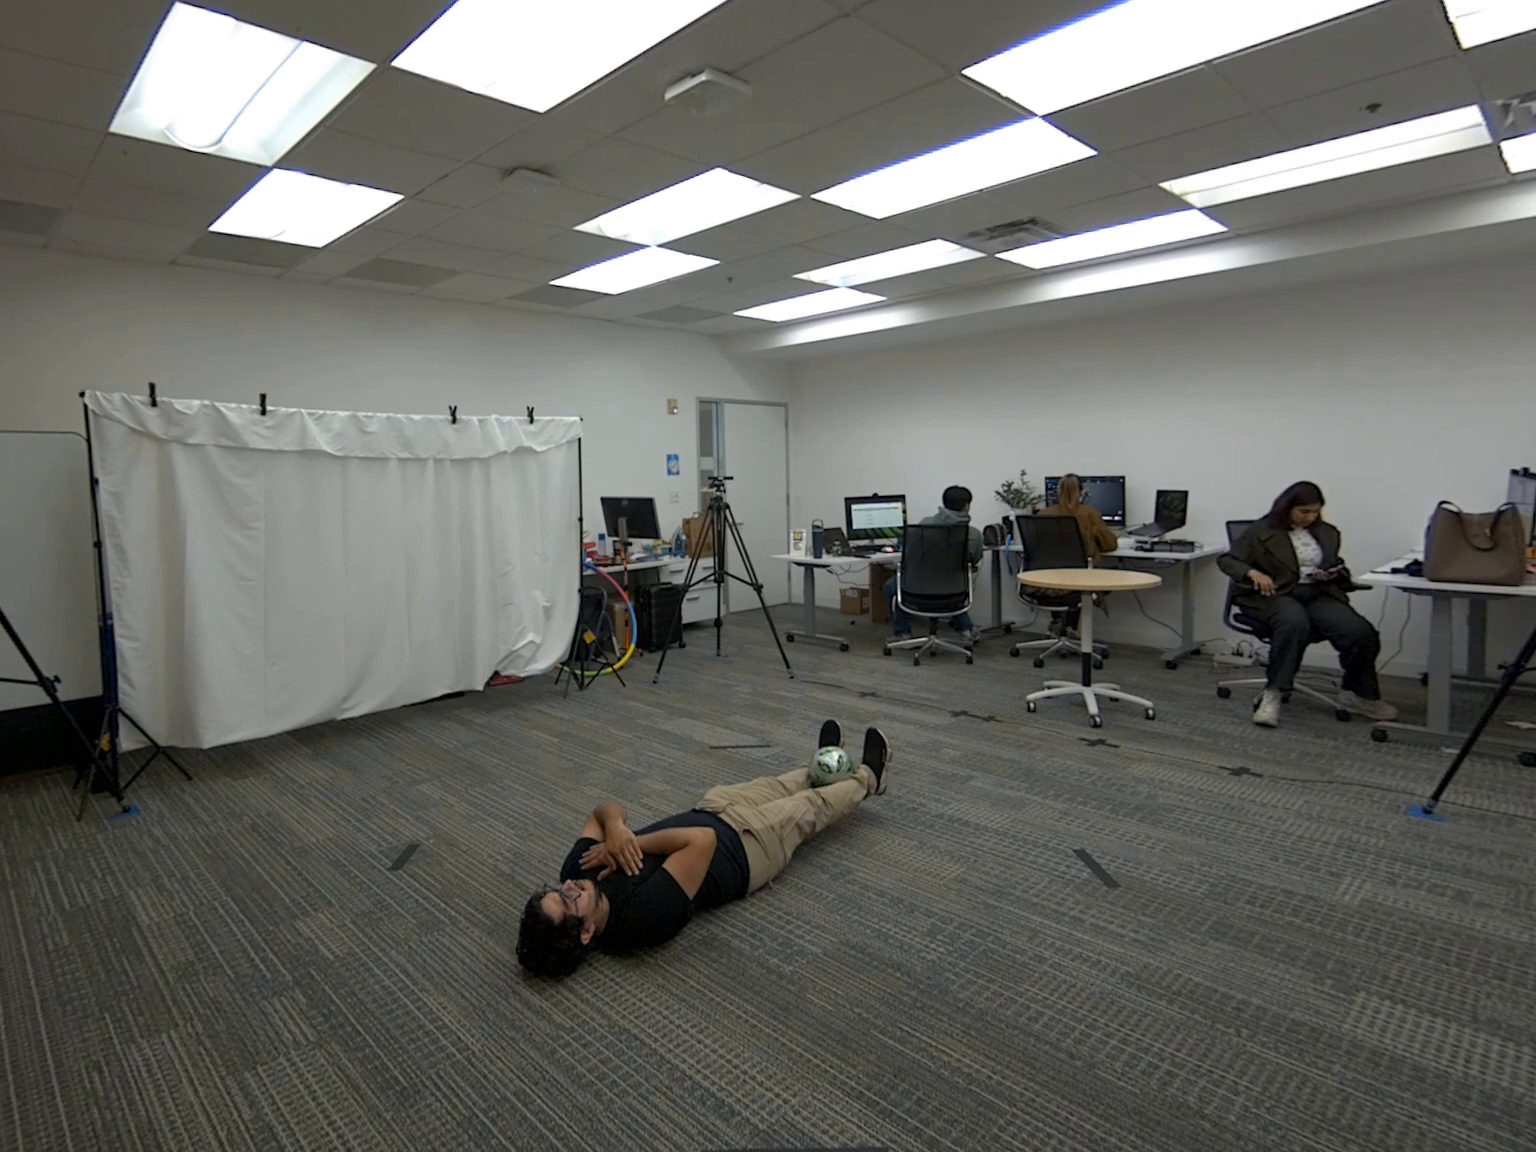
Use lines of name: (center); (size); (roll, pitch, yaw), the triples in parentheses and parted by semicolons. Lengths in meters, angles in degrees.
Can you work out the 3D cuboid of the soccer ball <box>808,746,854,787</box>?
soccer ball: (0.270, 0.791, 3.489); (0.187, 0.187, 0.188); (-1, 4, -2)
